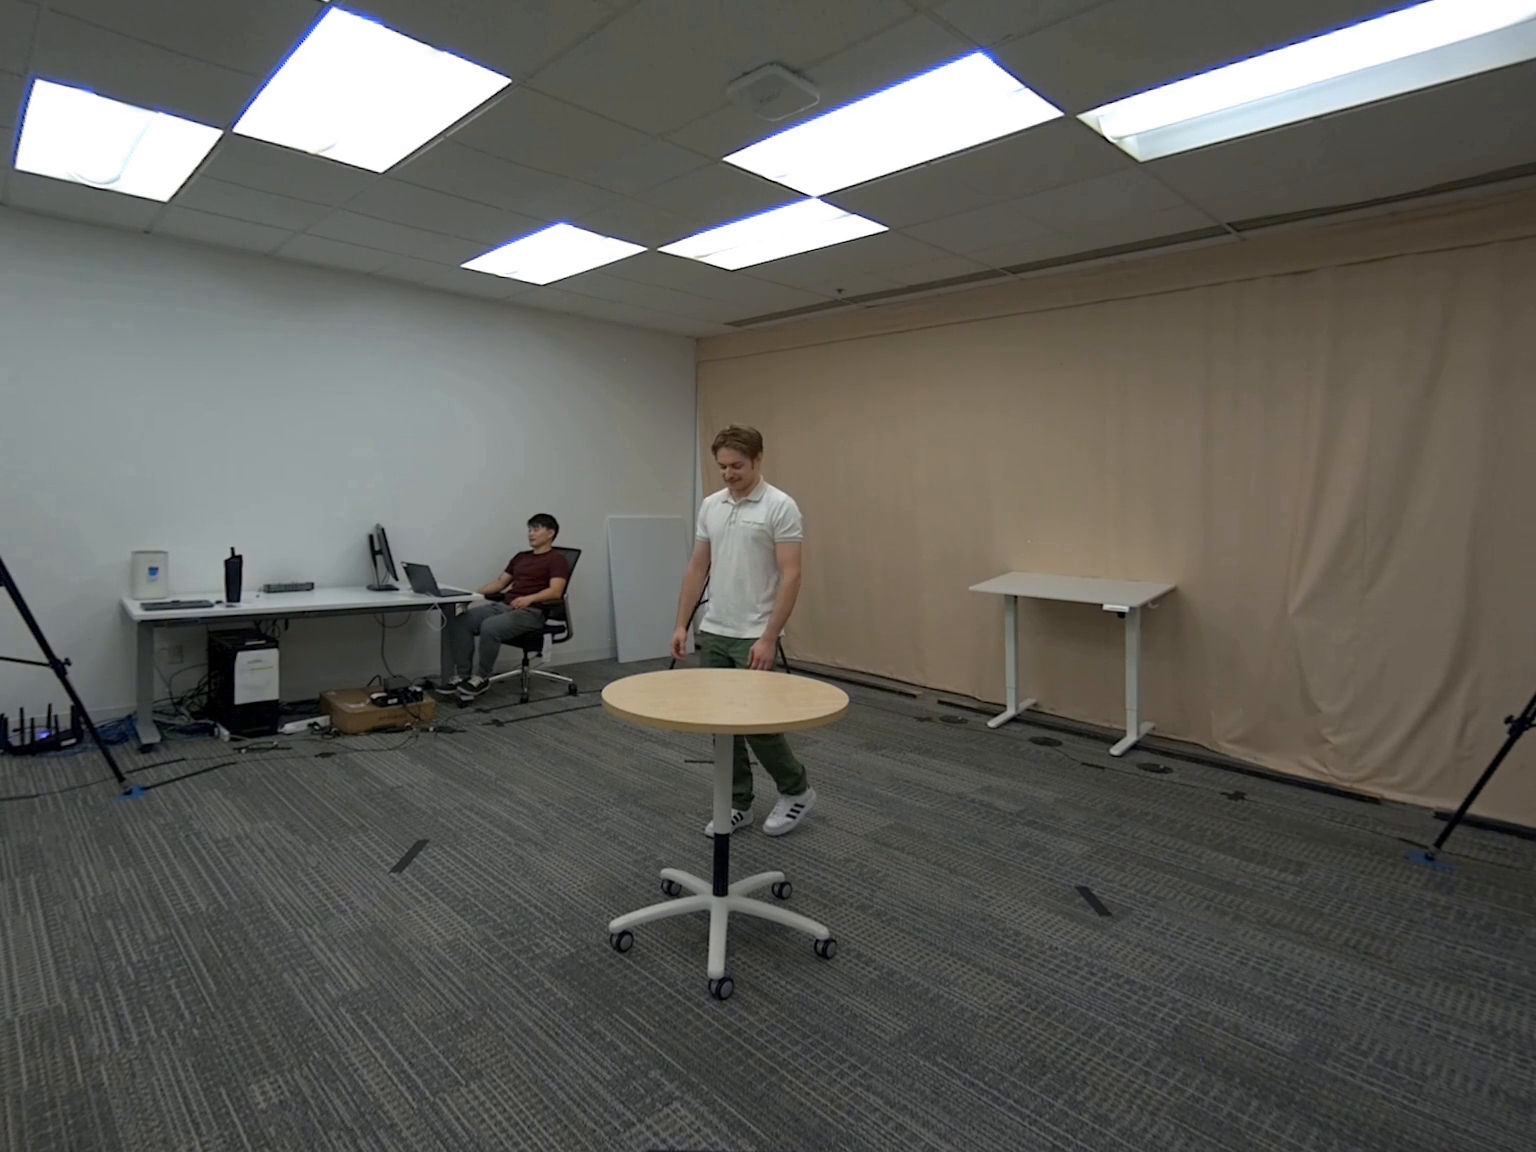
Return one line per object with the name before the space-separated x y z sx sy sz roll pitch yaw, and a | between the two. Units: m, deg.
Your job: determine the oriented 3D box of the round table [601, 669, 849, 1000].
round table | -0.153 0.760 2.649 0.763 0.792 0.766 1 4 -1
